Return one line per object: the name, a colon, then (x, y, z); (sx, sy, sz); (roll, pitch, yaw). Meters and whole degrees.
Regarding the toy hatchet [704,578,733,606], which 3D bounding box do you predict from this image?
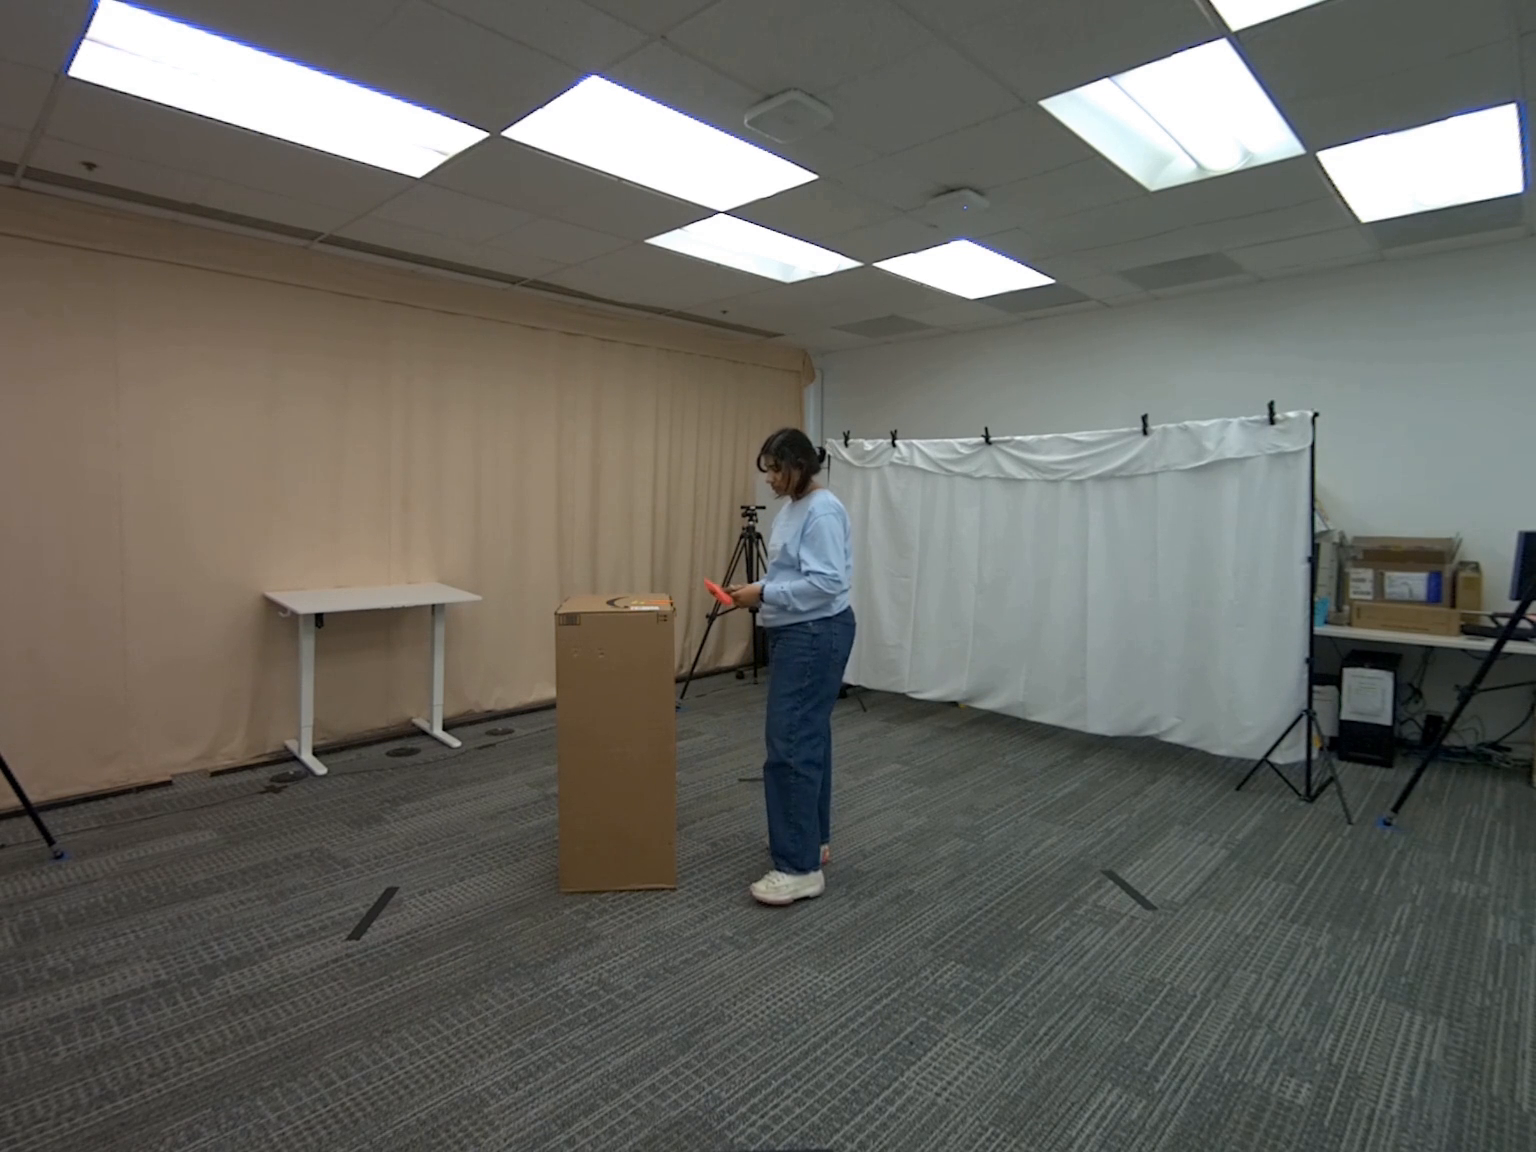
toy hatchet: (-0.108, 0.076, 3.118); (0.260, 0.029, 0.135); (16, 27, -42)
